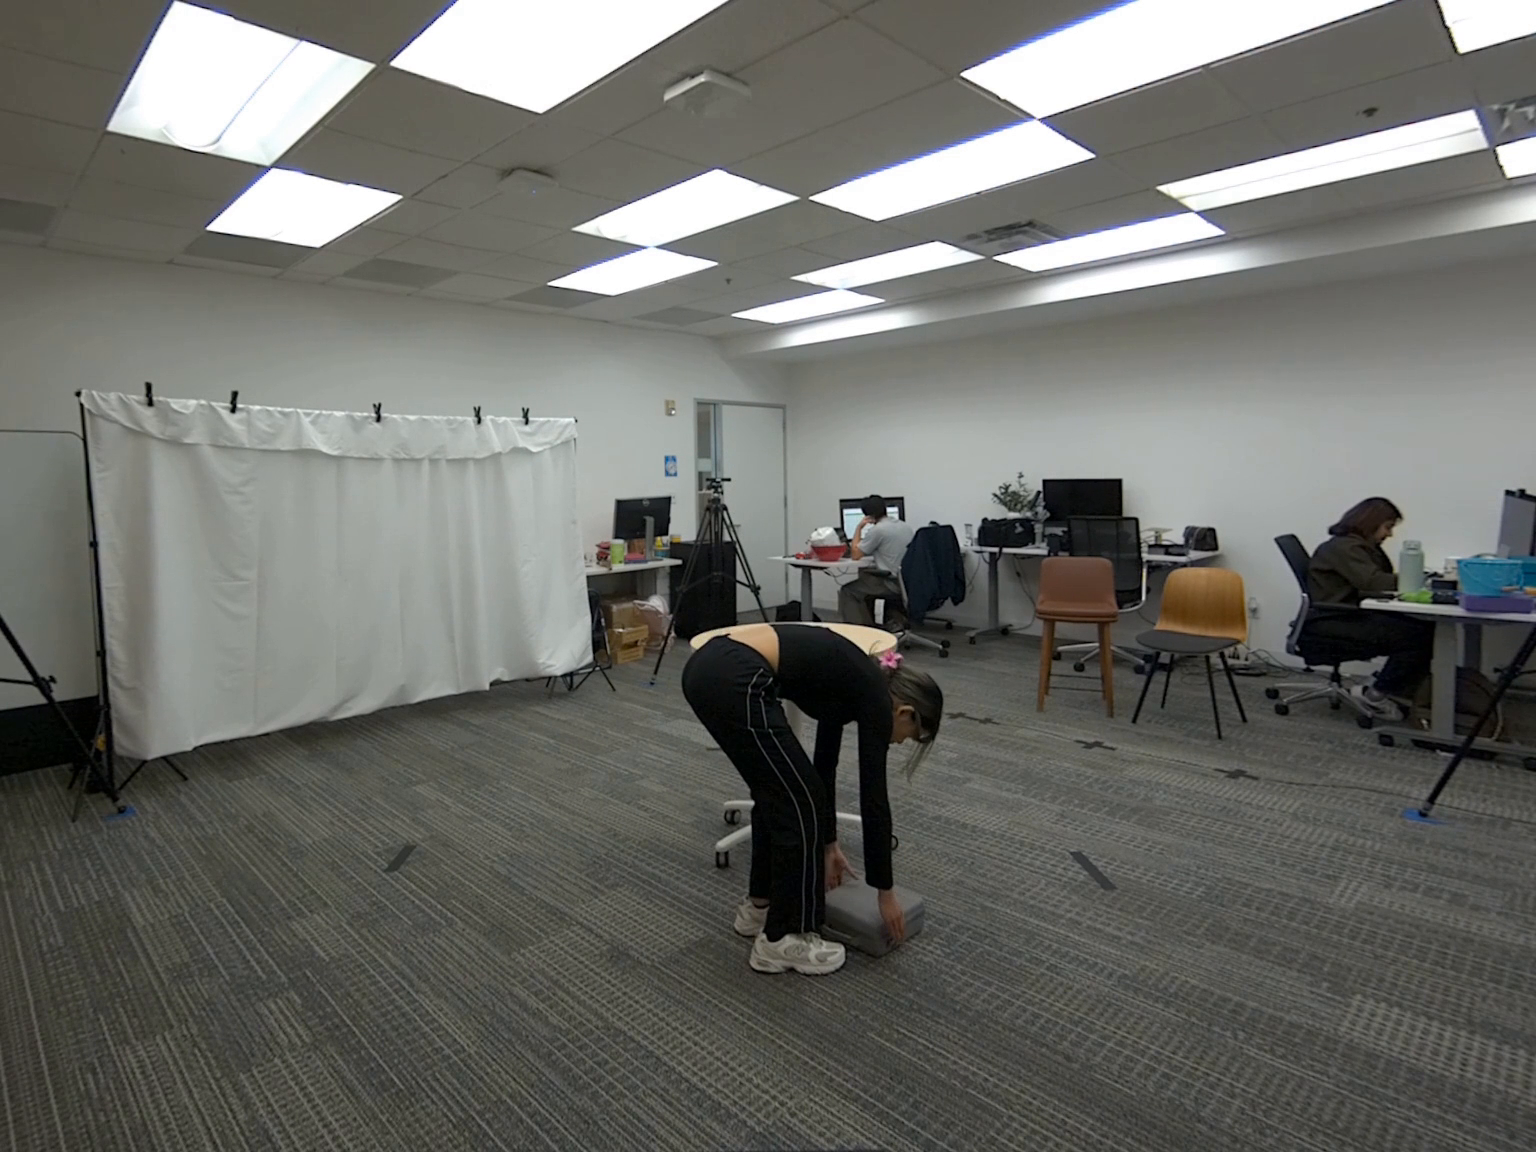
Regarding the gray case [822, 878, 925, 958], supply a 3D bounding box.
[{"bbox_3d":[0.317,1.031,2.629,0.254,0.104,0.265,-8,10,-43],"label":"gray case"}]
